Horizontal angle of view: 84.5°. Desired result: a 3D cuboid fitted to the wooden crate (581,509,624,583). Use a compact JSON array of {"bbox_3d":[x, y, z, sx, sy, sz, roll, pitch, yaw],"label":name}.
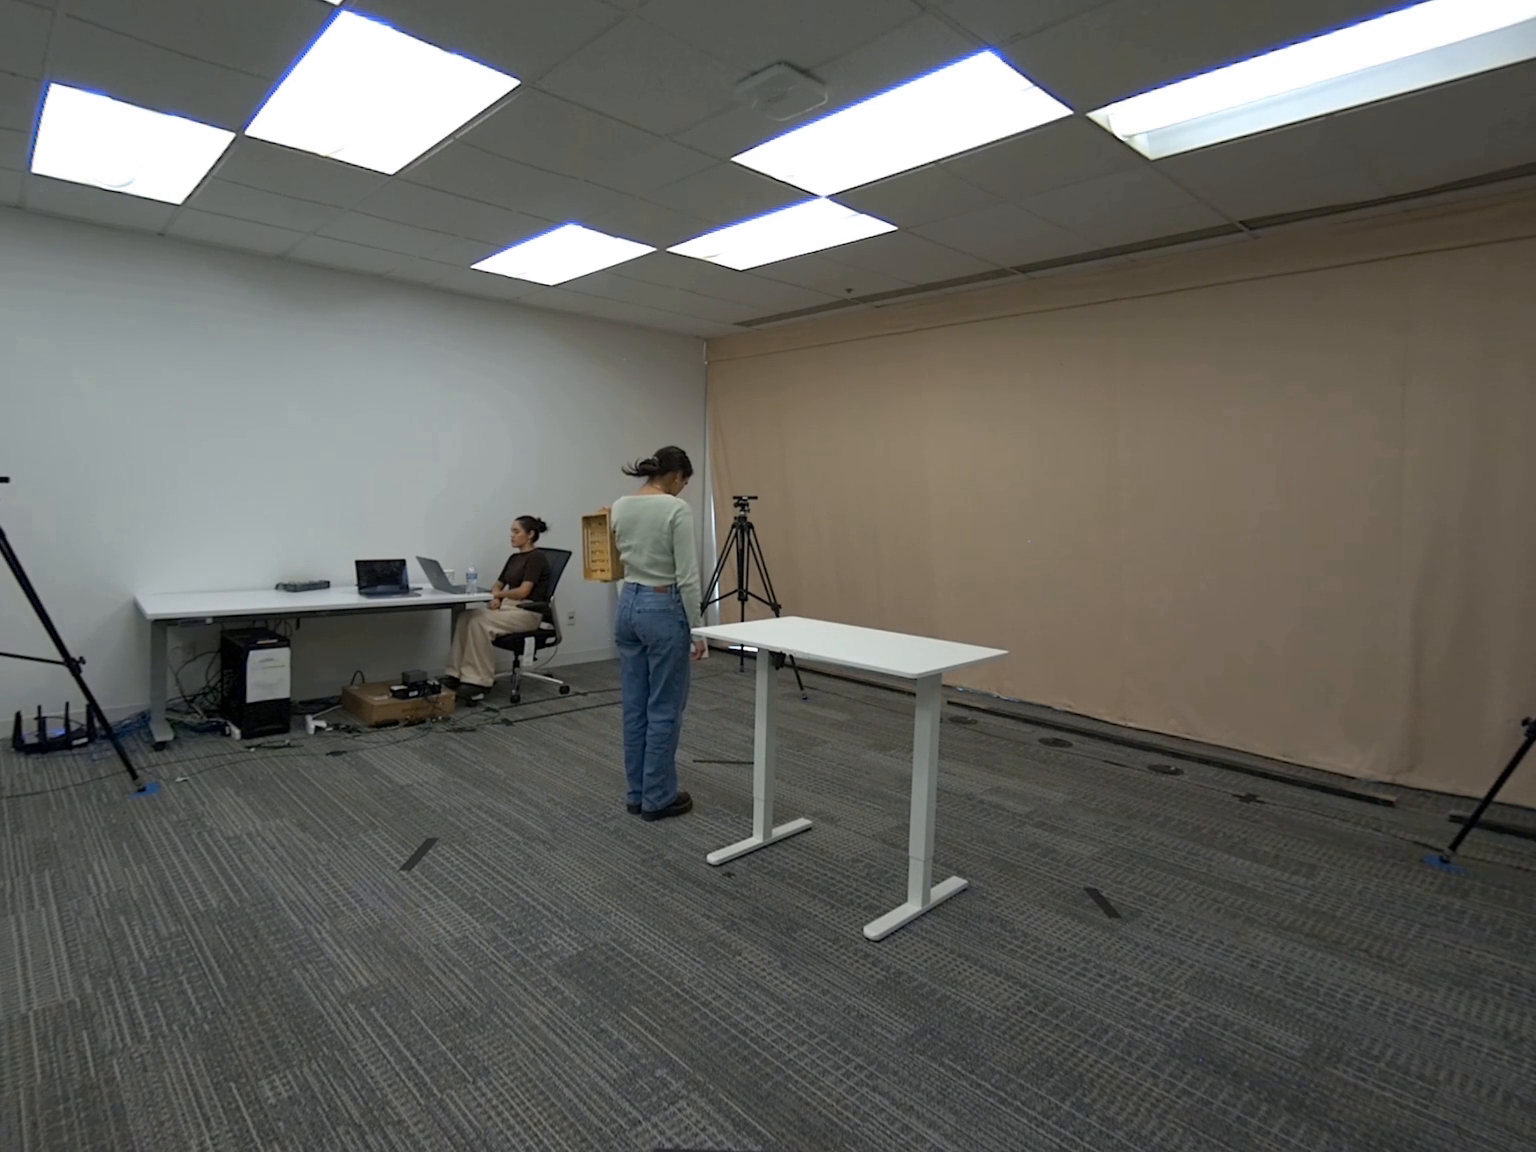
[{"bbox_3d":[-0.781,-0.134,3.917,0.308,0.324,0.267,-3,0,34],"label":"wooden crate"}]
